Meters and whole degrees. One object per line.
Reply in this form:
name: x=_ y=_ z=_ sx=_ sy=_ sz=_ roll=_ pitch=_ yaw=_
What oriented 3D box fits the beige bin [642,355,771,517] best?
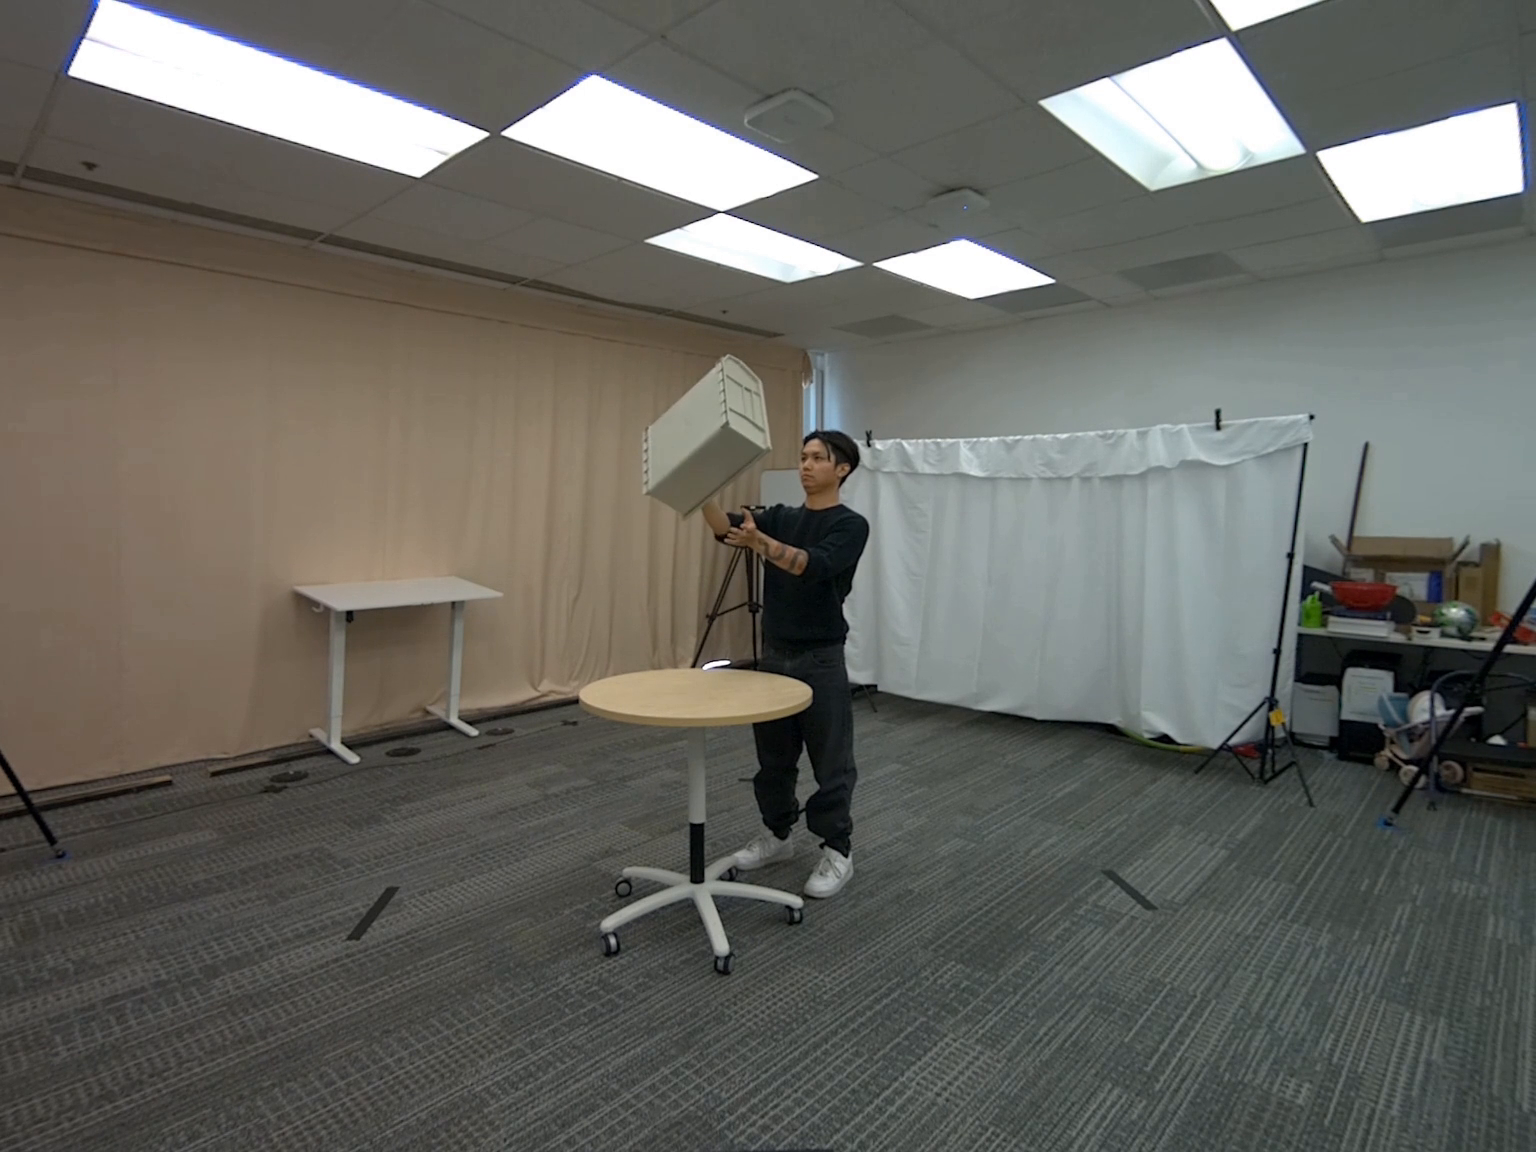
beige bin: x=-0.212 y=-0.465 z=2.786 sx=0.182 sy=0.385 sz=0.428 roll=30 pitch=-51 yaw=-35
